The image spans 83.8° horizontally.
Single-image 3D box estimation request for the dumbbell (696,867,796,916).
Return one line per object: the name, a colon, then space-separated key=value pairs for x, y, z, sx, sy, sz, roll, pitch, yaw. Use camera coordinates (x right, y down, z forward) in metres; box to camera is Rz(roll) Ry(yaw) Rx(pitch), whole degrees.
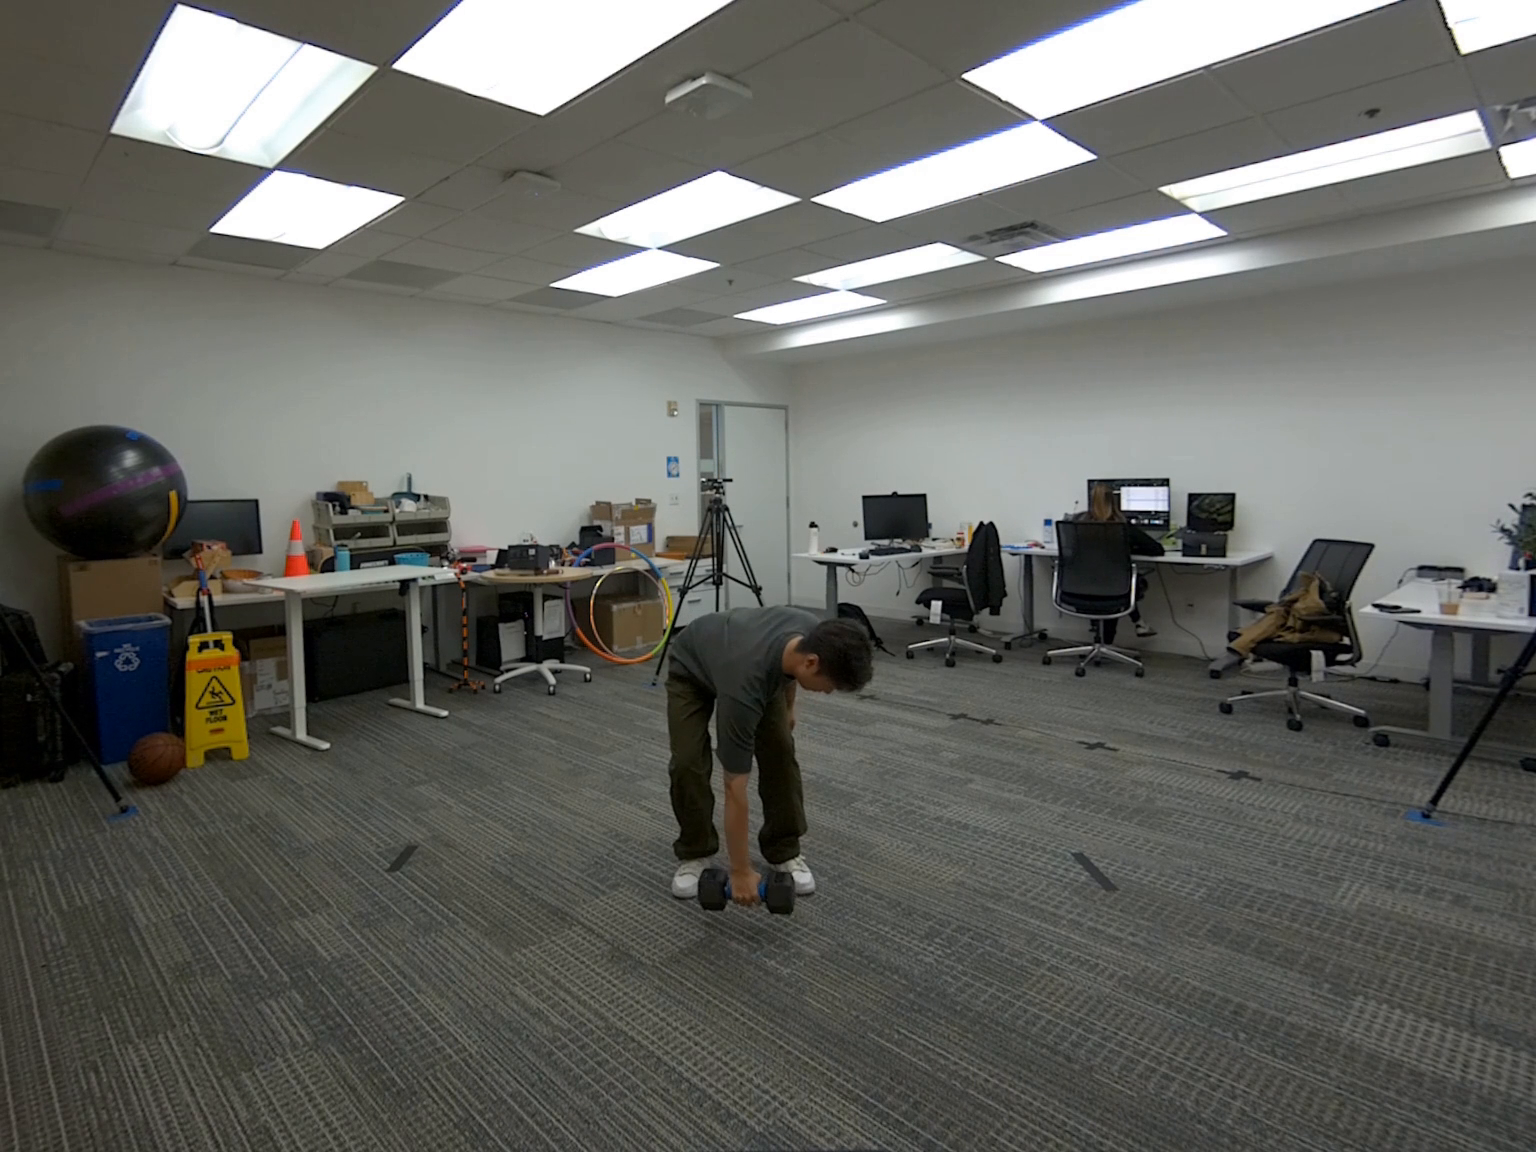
dumbbell: x=-0.067 y=0.971 z=2.640 sx=0.297 sy=0.119 sz=0.111 roll=-3 pitch=46 yaw=11
